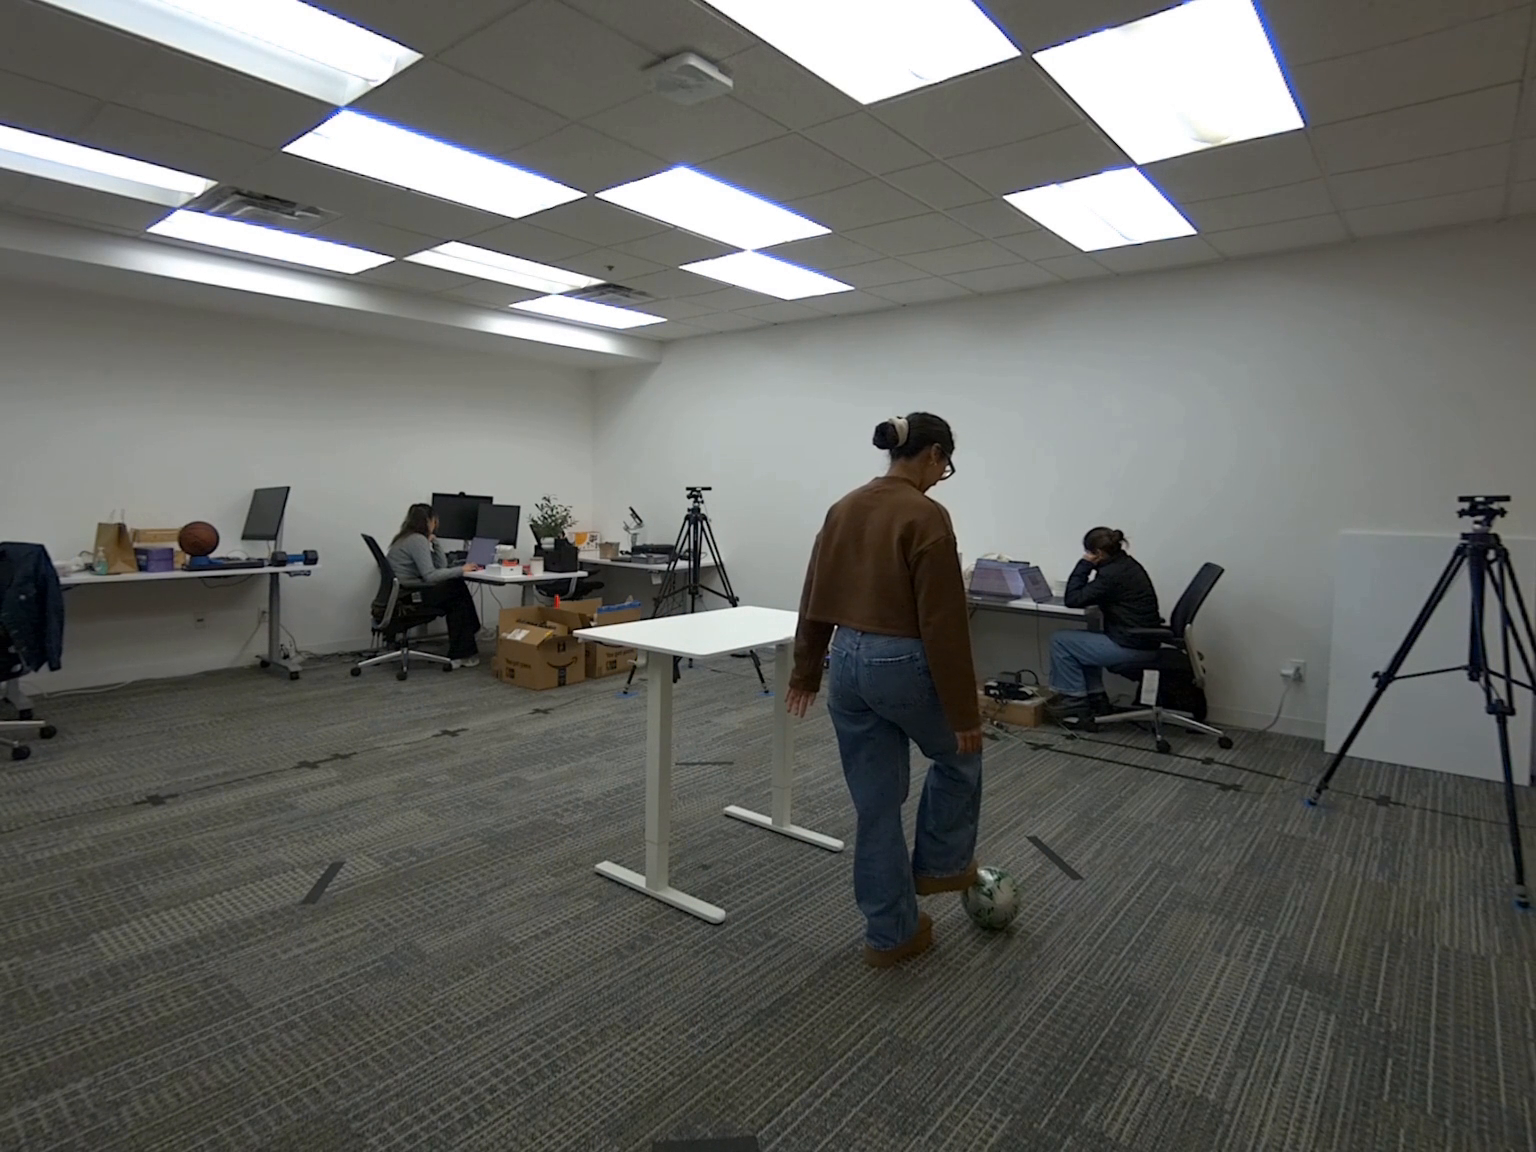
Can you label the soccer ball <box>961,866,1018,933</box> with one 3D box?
[{"bbox_3d":[0.715,1.031,2.742,0.187,0.187,0.188,1,4,-2],"label":"soccer ball"}]
